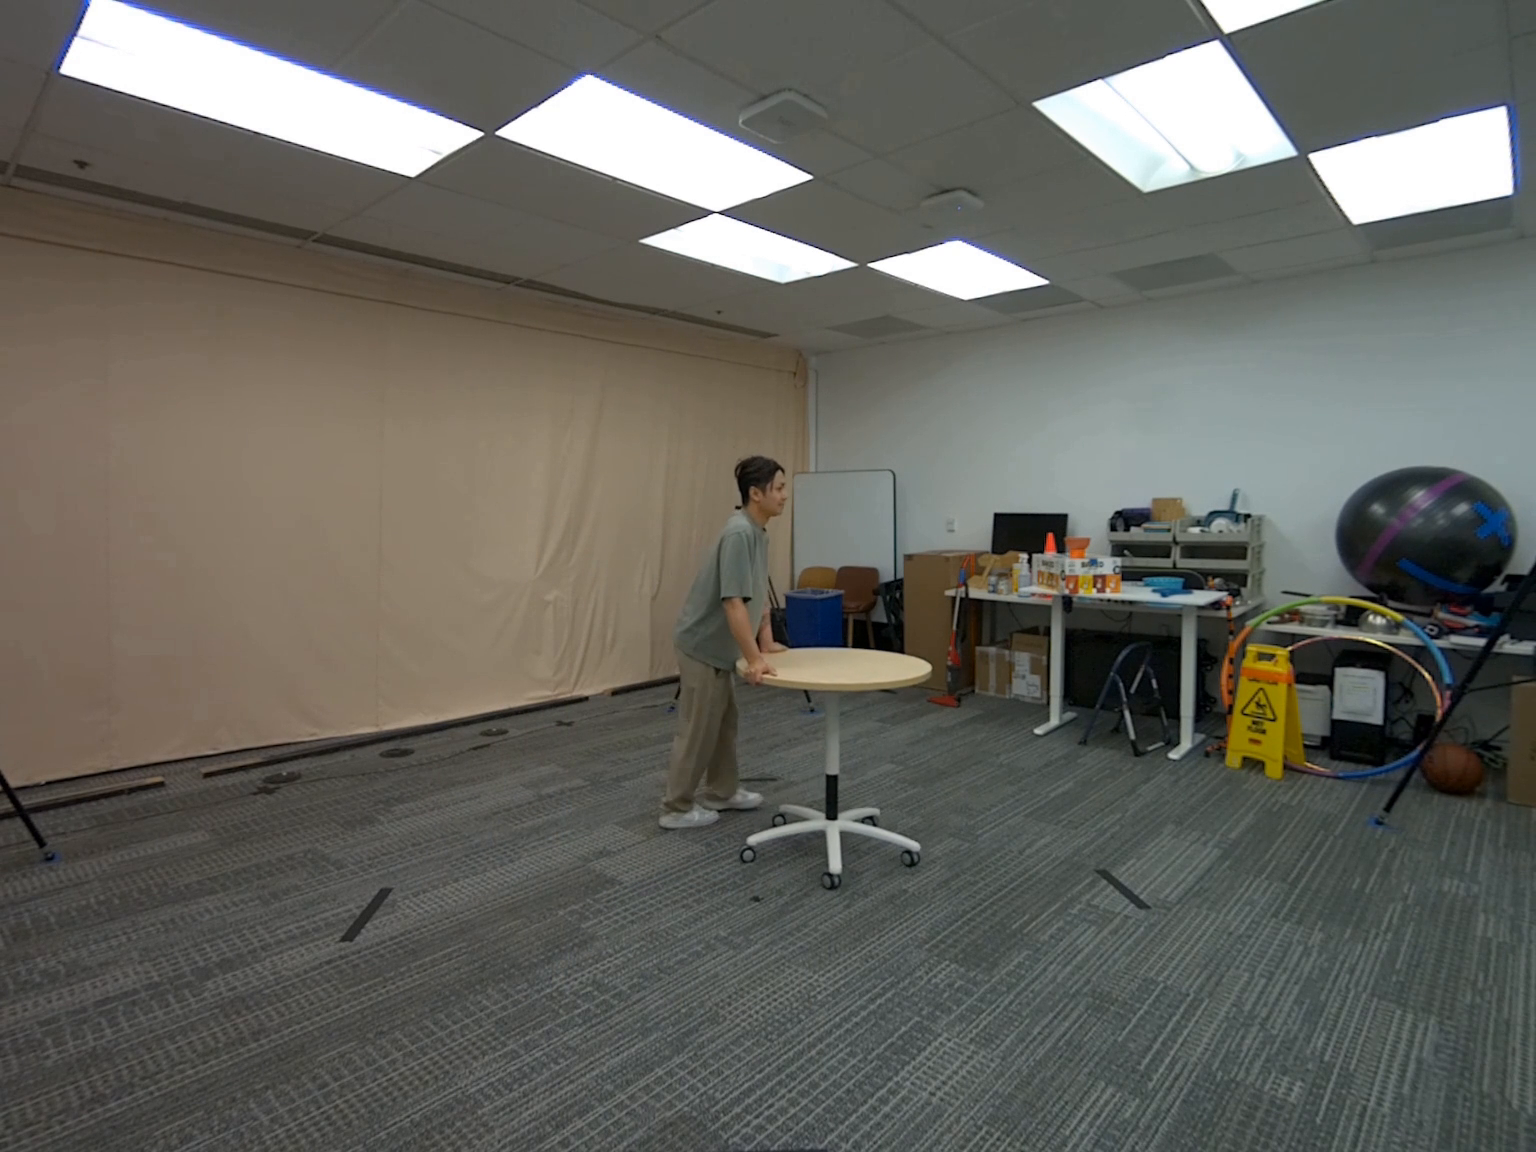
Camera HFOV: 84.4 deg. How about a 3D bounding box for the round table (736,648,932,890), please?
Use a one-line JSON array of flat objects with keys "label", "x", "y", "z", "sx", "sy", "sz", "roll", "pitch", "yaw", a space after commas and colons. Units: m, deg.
[{"label": "round table", "x": 0.250, "y": 0.731, "z": 3.346, "sx": 0.784, "sy": 0.785, "sz": 0.788, "roll": 0, "pitch": 4, "yaw": -2}]
